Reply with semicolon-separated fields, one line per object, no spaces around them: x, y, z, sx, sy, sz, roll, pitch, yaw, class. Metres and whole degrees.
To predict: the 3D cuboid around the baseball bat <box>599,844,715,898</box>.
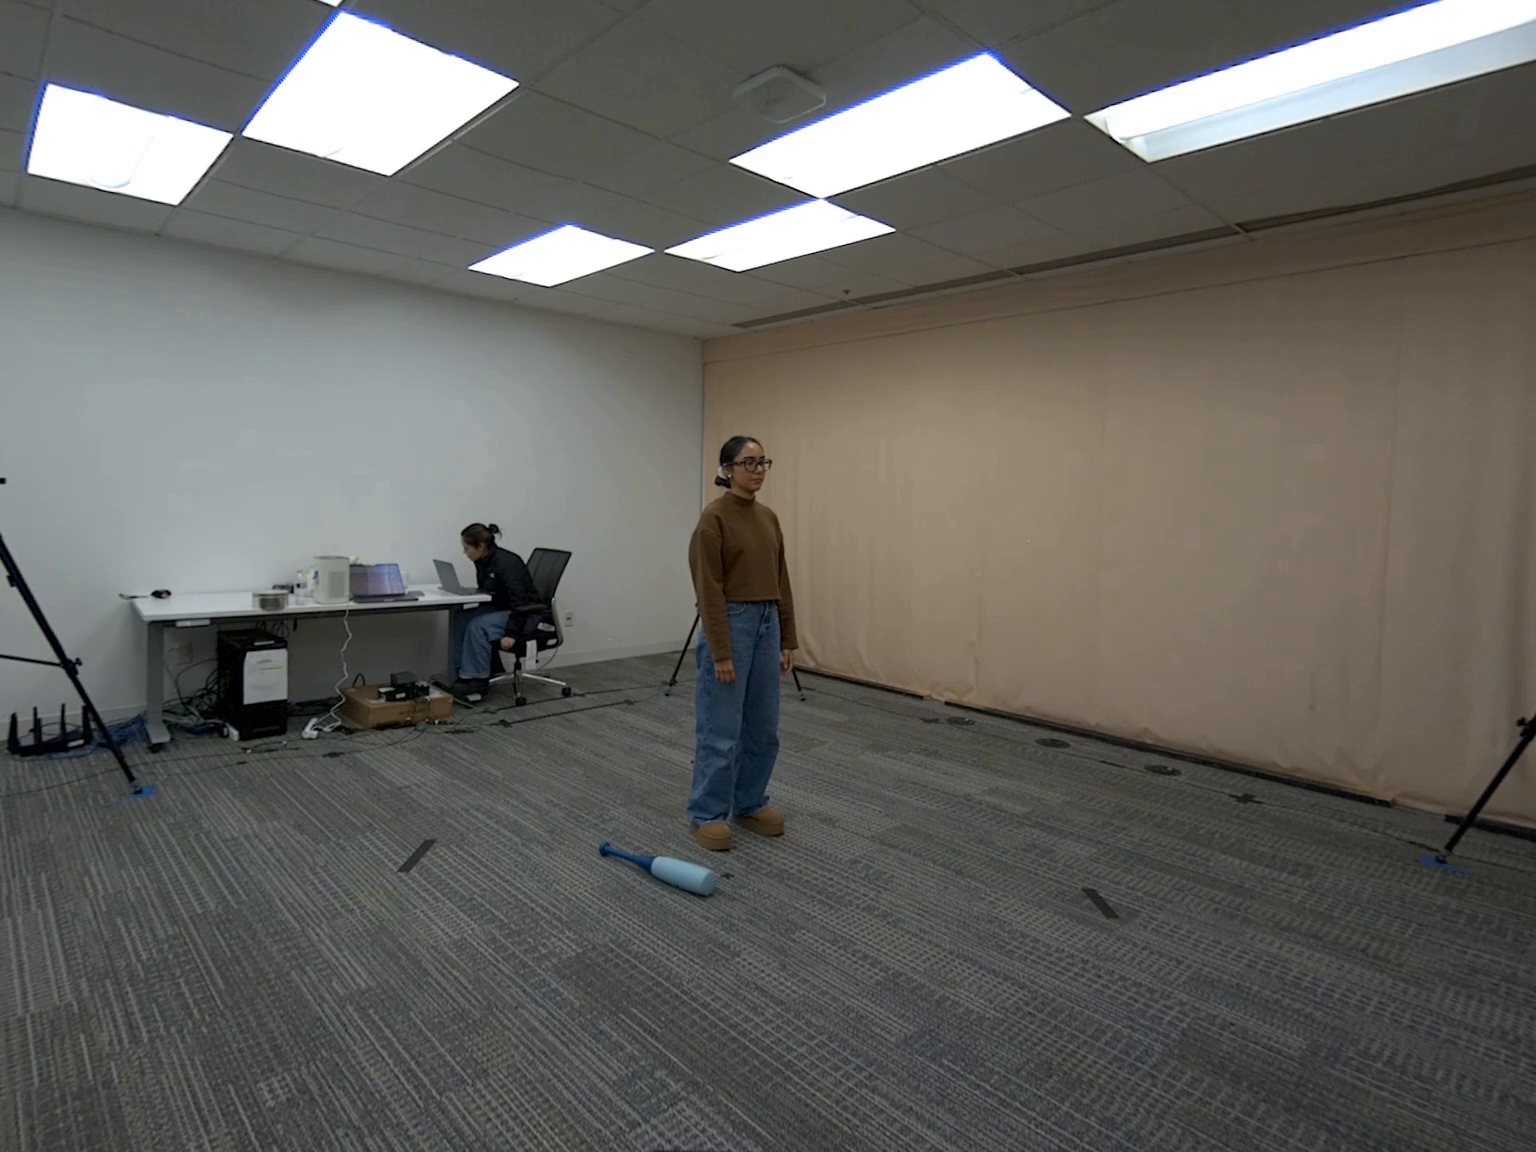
-0.428;1.068;3.090;0.556;0.089;0.087;2;4;37;baseball bat
